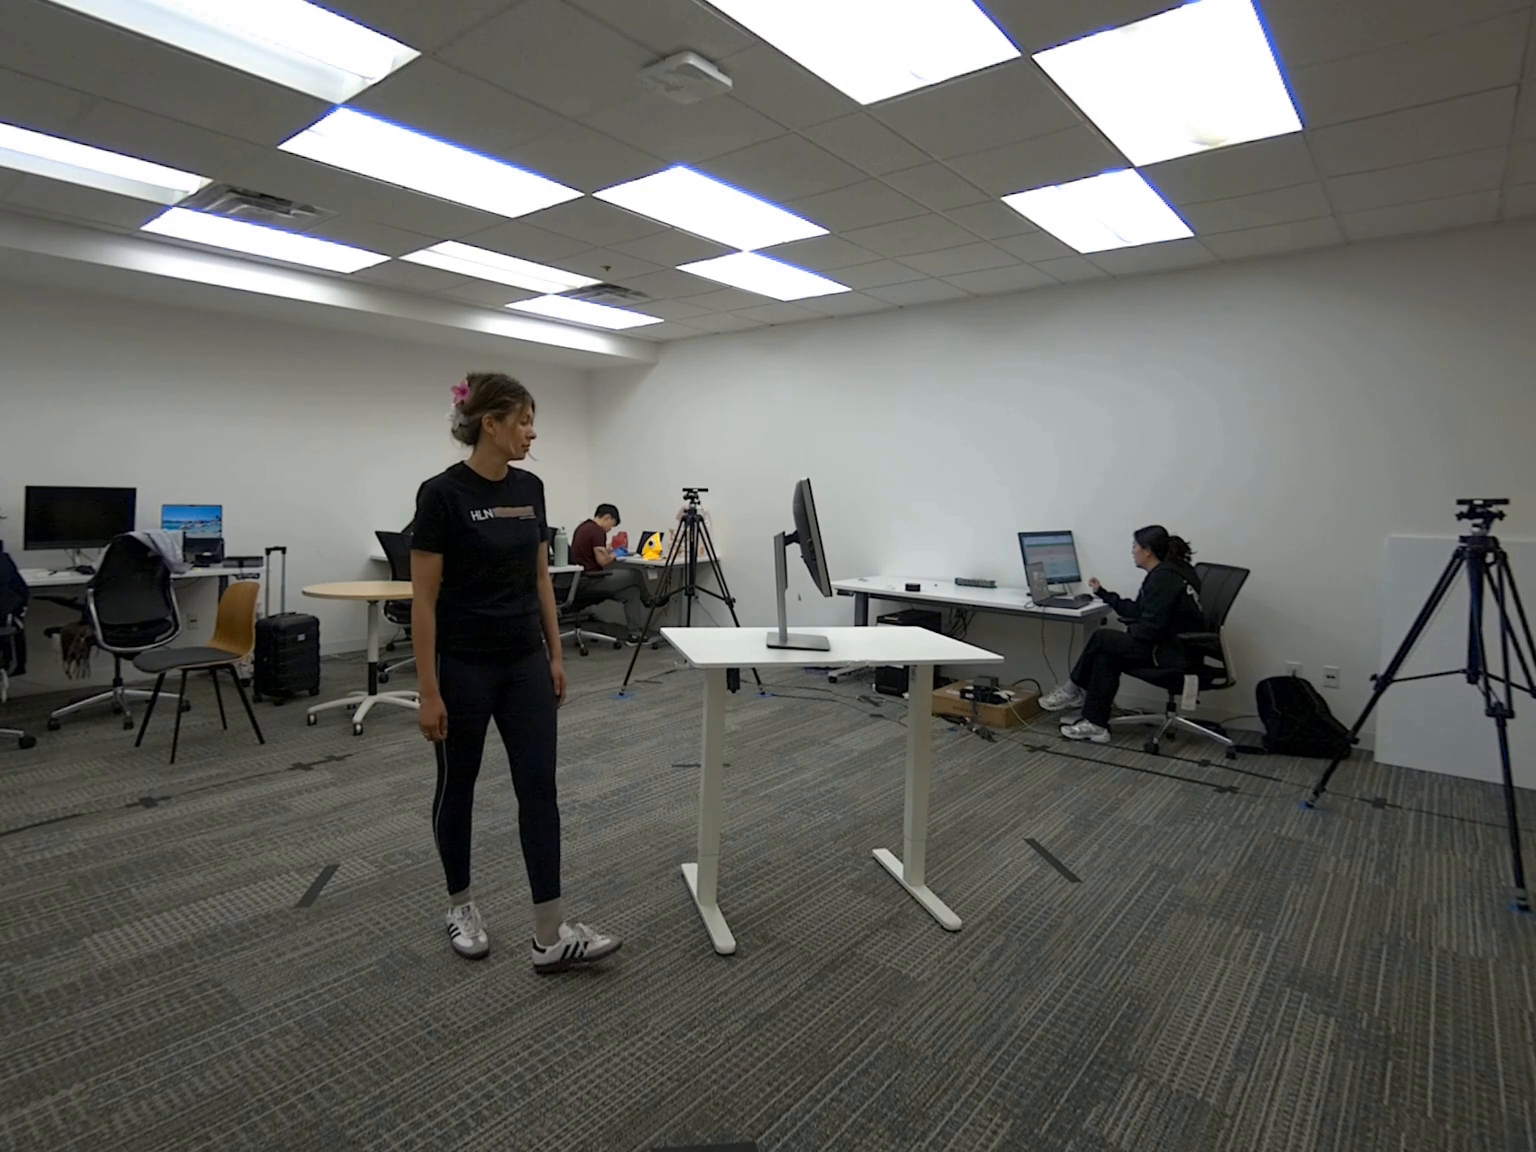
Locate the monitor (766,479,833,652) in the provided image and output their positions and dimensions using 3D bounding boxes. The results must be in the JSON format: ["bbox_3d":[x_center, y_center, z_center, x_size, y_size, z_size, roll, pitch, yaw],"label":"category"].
[{"bbox_3d":[0.092,-0.043,2.819,0.187,0.521,0.541,2,4,-1],"label":"monitor"}]
